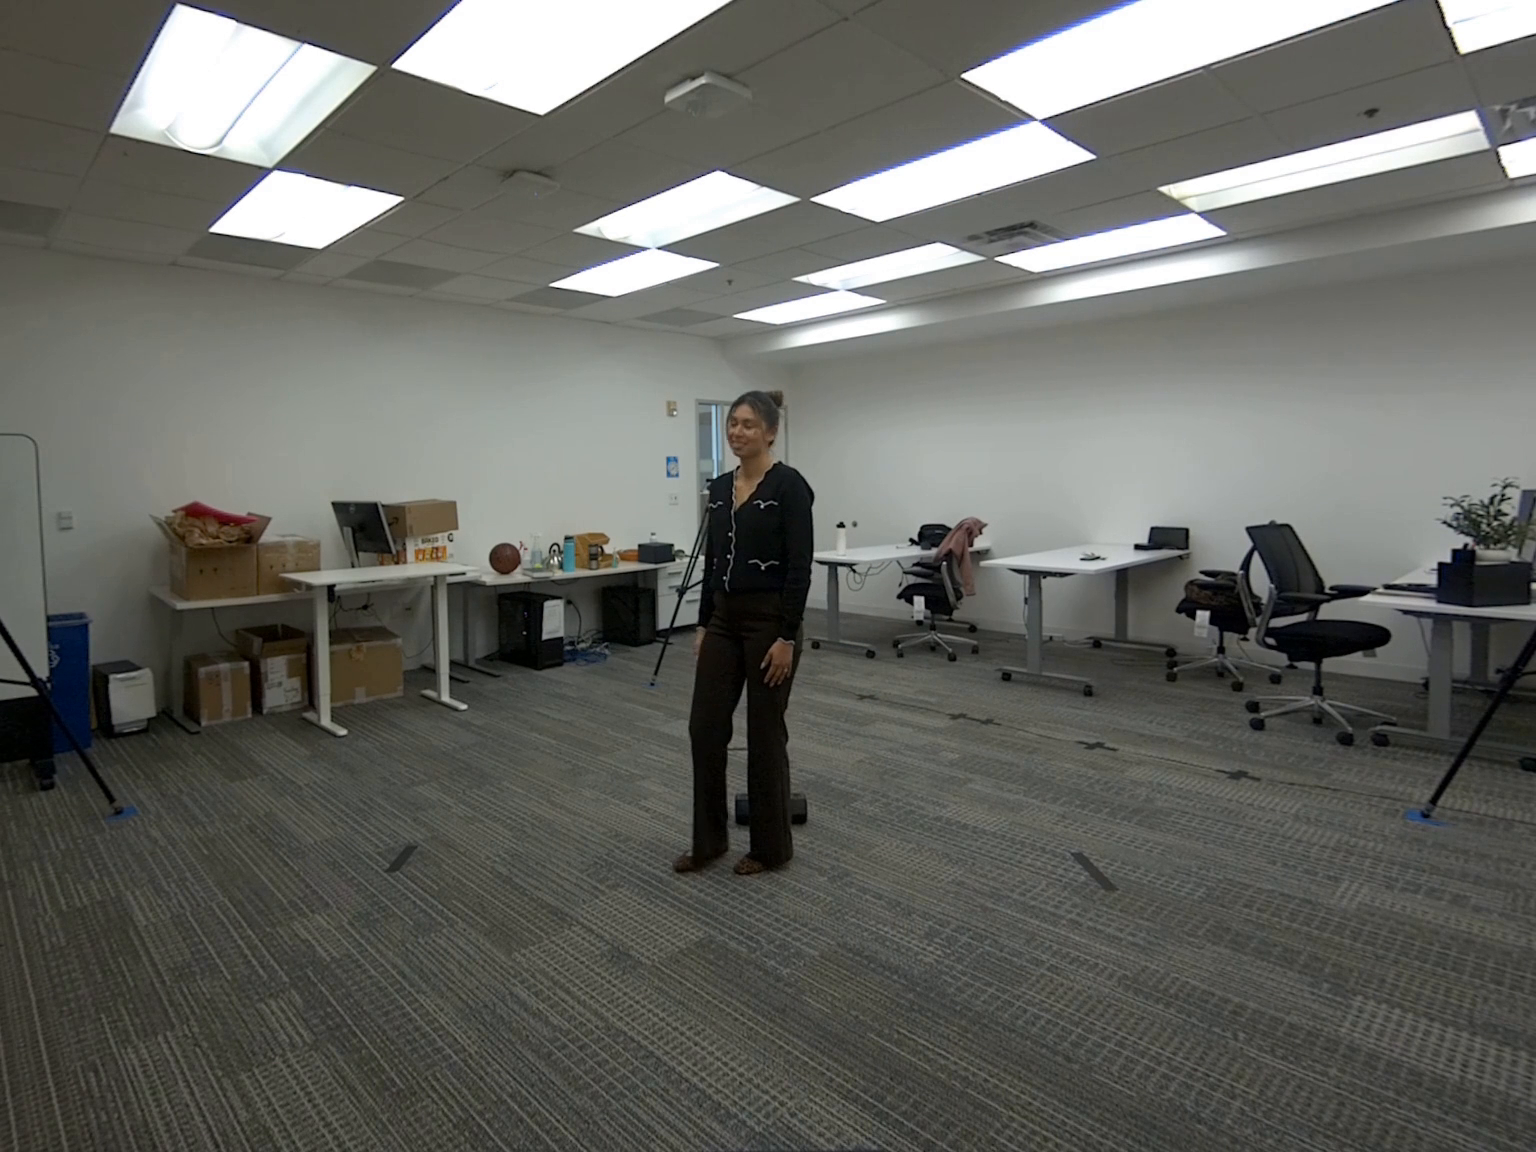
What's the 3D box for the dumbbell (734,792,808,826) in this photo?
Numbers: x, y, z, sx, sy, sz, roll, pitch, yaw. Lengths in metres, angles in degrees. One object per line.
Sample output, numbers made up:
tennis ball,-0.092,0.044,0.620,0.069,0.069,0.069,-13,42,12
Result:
dumbbell,0.013,0.952,3.482,0.294,0.125,0.106,-1,-25,0
